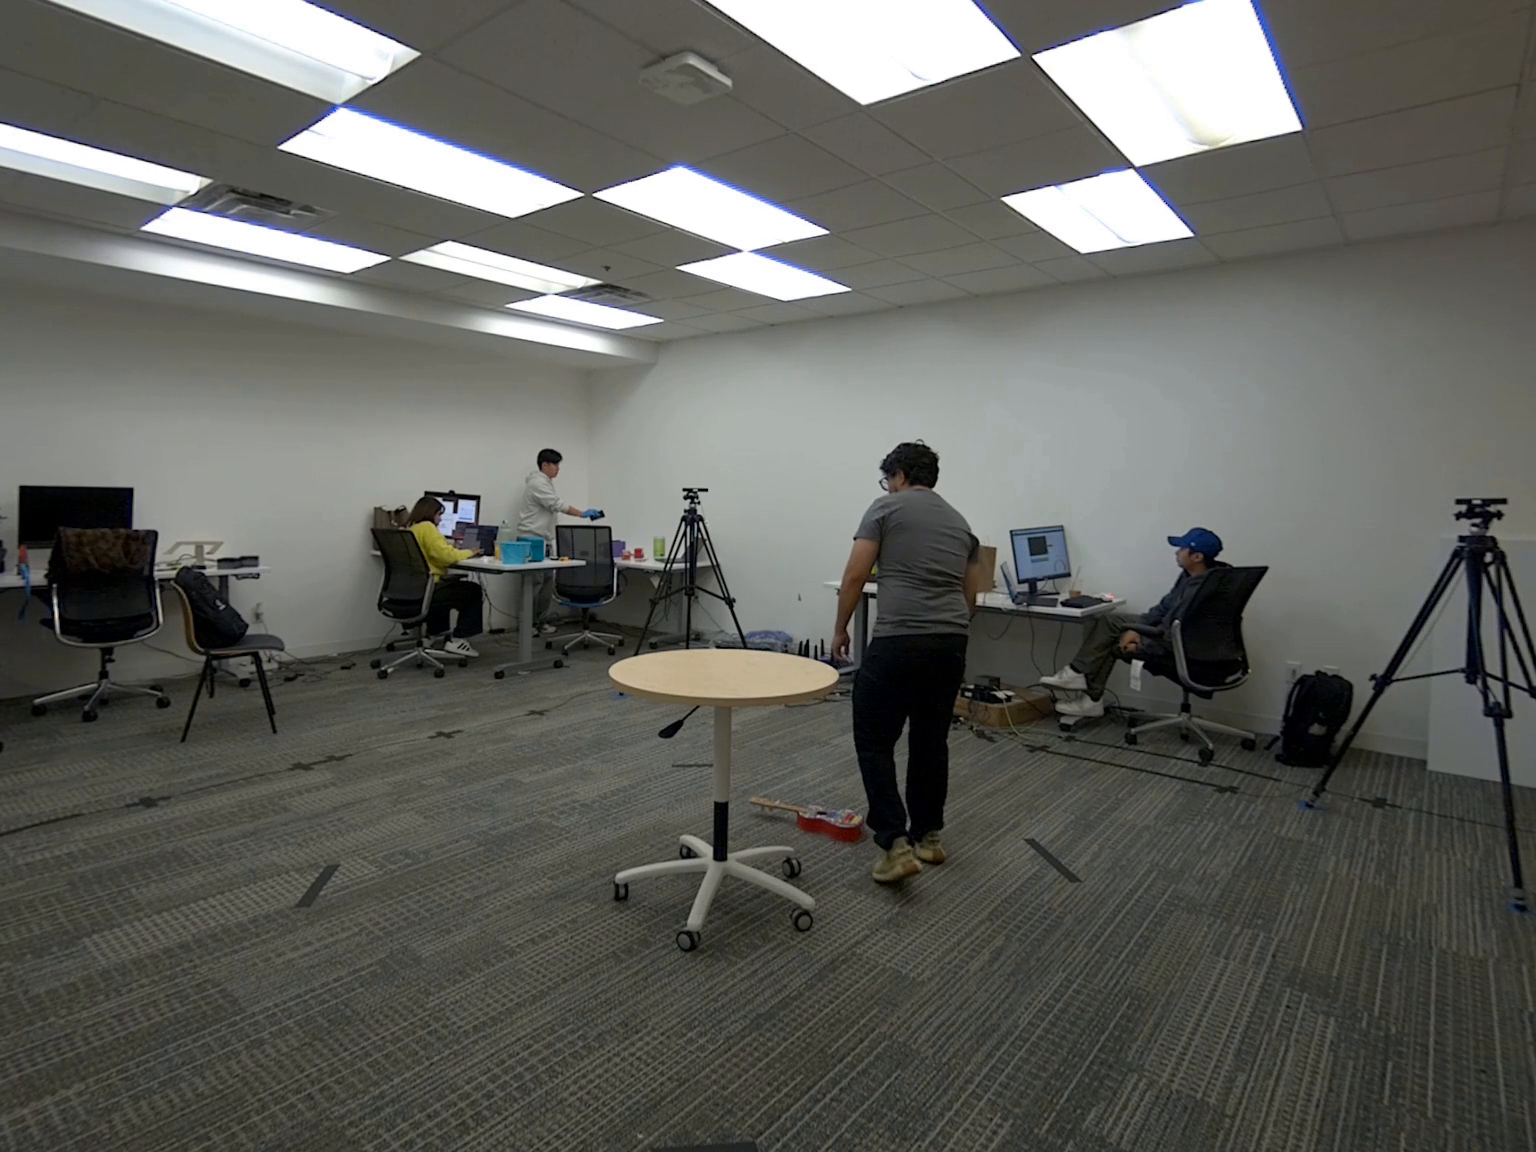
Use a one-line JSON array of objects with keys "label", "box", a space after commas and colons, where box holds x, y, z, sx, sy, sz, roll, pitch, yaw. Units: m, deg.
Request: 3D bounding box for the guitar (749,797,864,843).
[{"label": "guitar", "box": [0.158, 0.998, 3.583, 0.513, 0.070, 0.188, 6, 7, 32]}]
